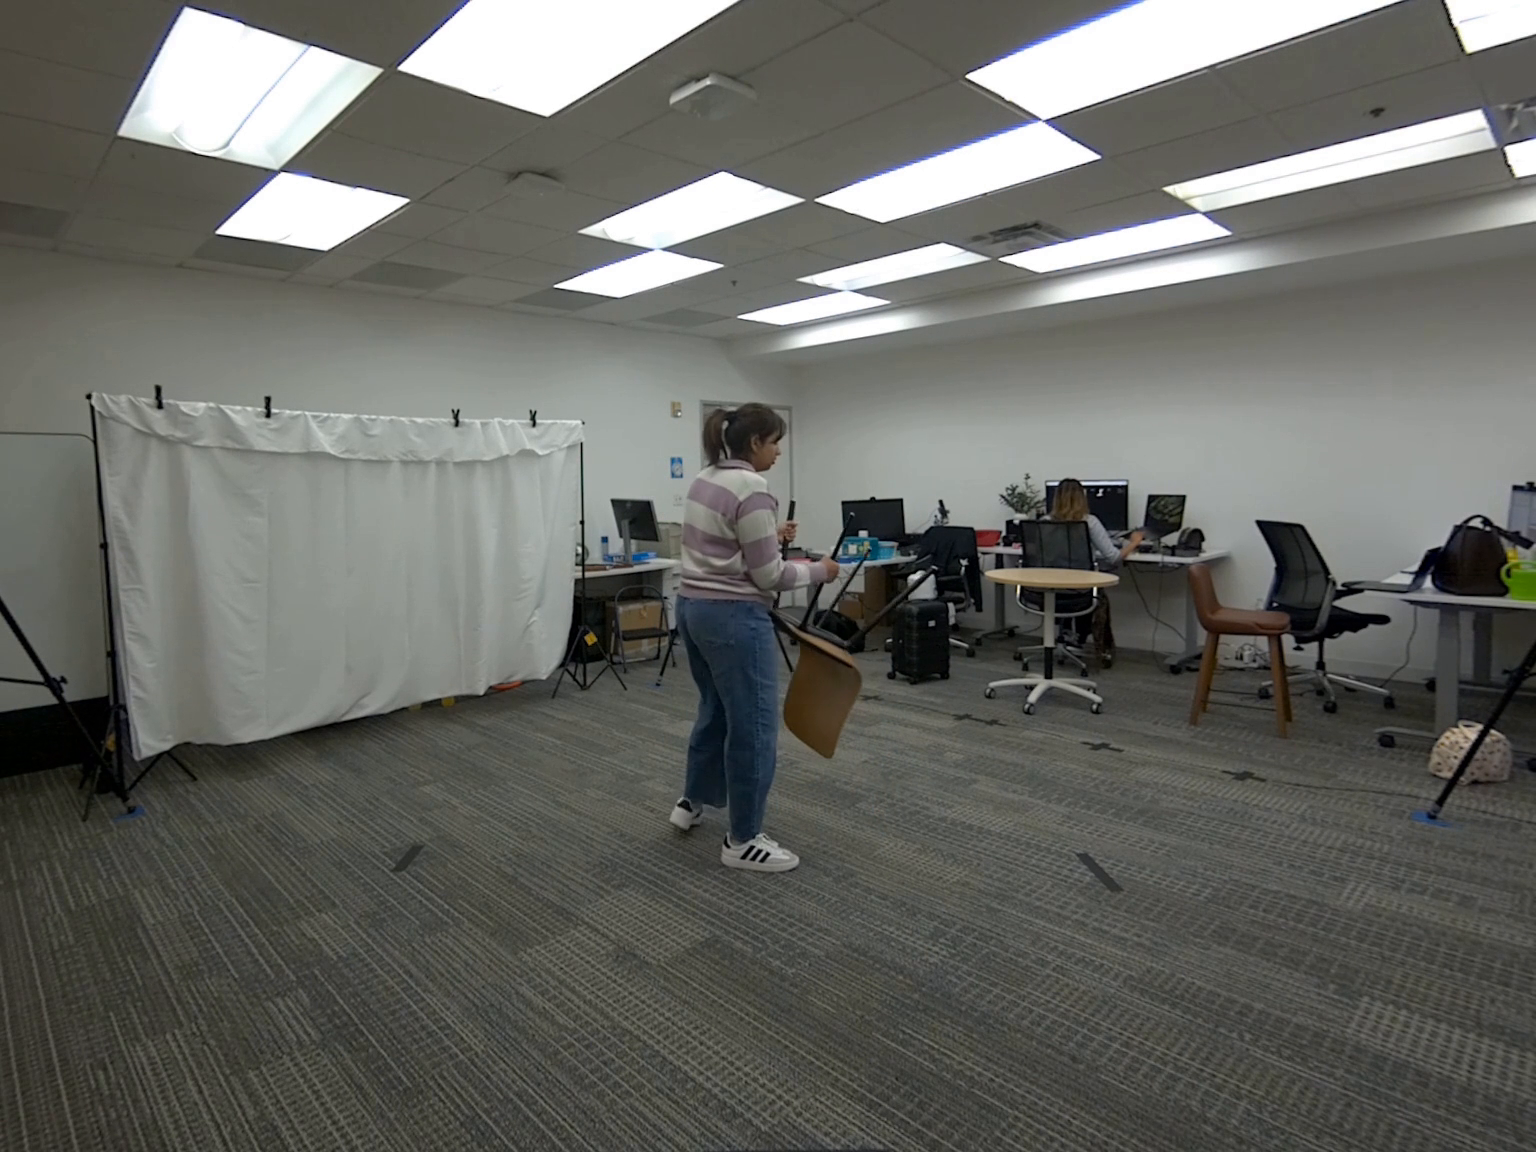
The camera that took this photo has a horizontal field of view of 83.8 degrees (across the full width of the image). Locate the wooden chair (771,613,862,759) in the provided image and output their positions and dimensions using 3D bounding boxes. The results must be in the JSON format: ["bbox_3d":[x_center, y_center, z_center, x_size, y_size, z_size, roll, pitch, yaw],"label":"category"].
[{"bbox_3d":[0.153,0.203,3.325,0.507,0.878,0.493,25,-2,-28],"label":"wooden chair"}]
